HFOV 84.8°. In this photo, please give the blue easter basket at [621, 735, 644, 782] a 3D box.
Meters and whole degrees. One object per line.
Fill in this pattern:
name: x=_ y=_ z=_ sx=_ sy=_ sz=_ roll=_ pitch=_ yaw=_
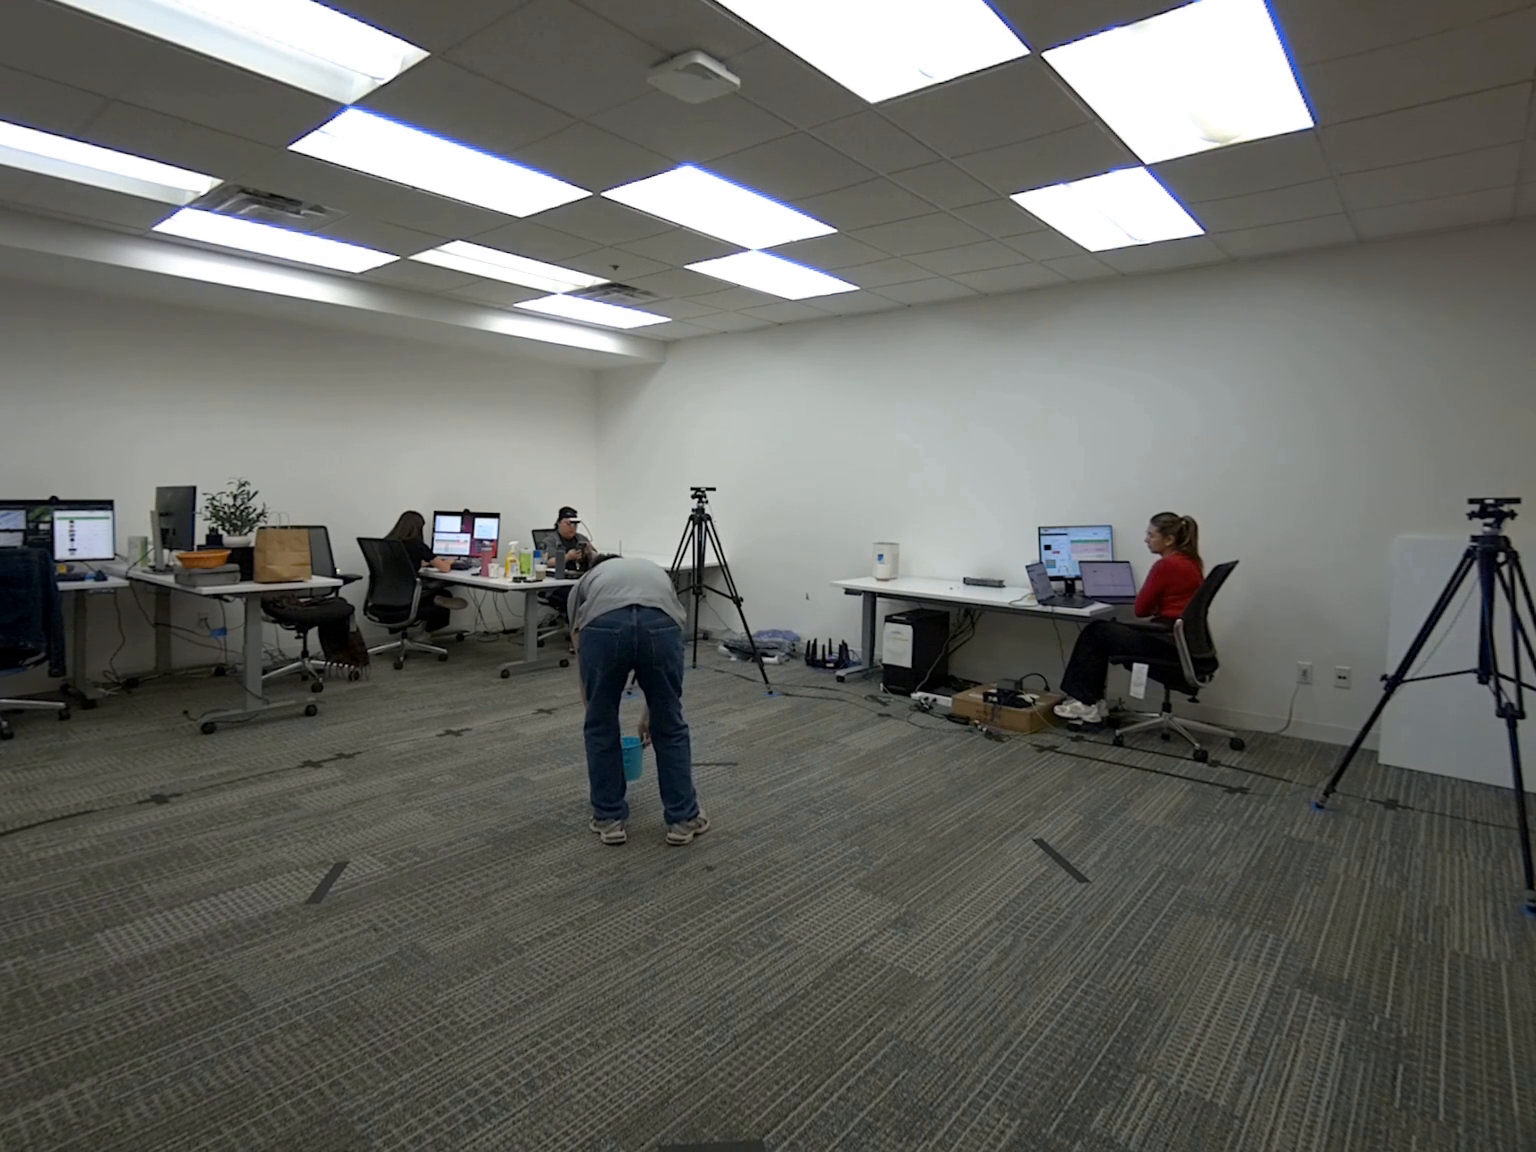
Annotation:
blue easter basket: x=-0.657 y=0.790 z=3.724 sx=0.243 sy=0.156 sz=0.244 roll=0 pitch=2 yaw=-2
